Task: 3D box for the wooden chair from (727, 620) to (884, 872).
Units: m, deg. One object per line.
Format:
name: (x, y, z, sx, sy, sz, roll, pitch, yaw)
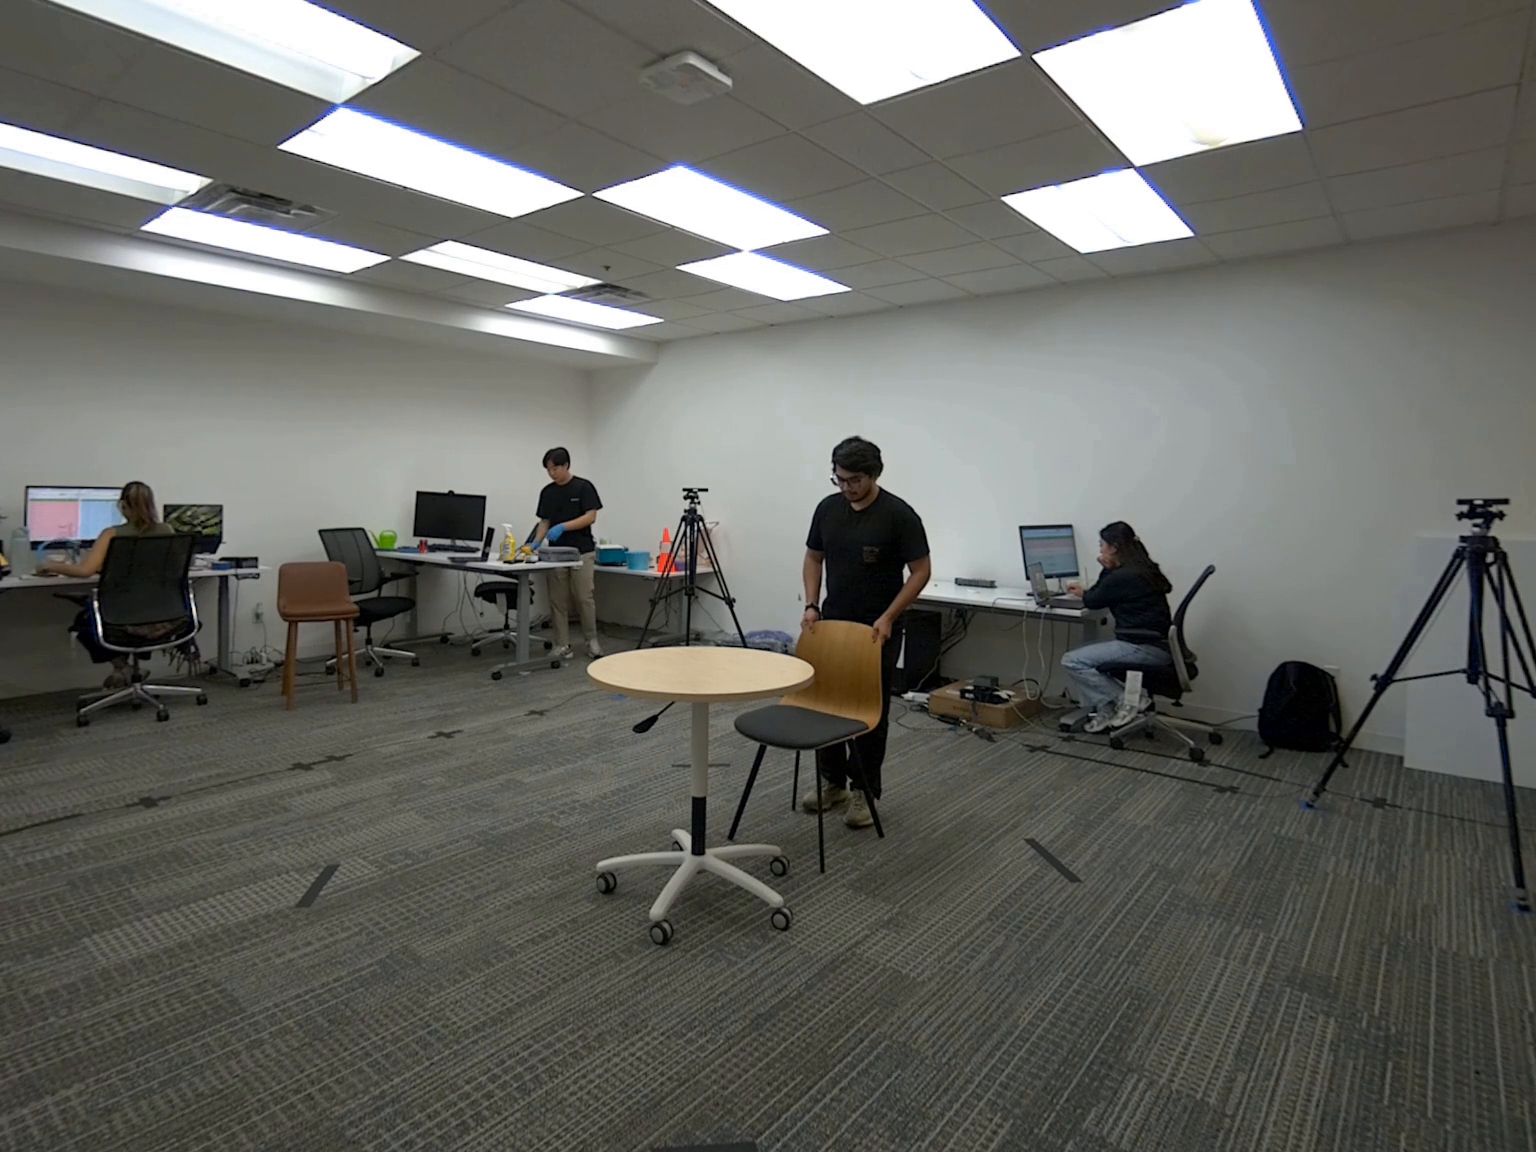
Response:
wooden chair: (0.154, 0.625, 3.375, 0.494, 0.878, 0.506, 4, 0, 38)
